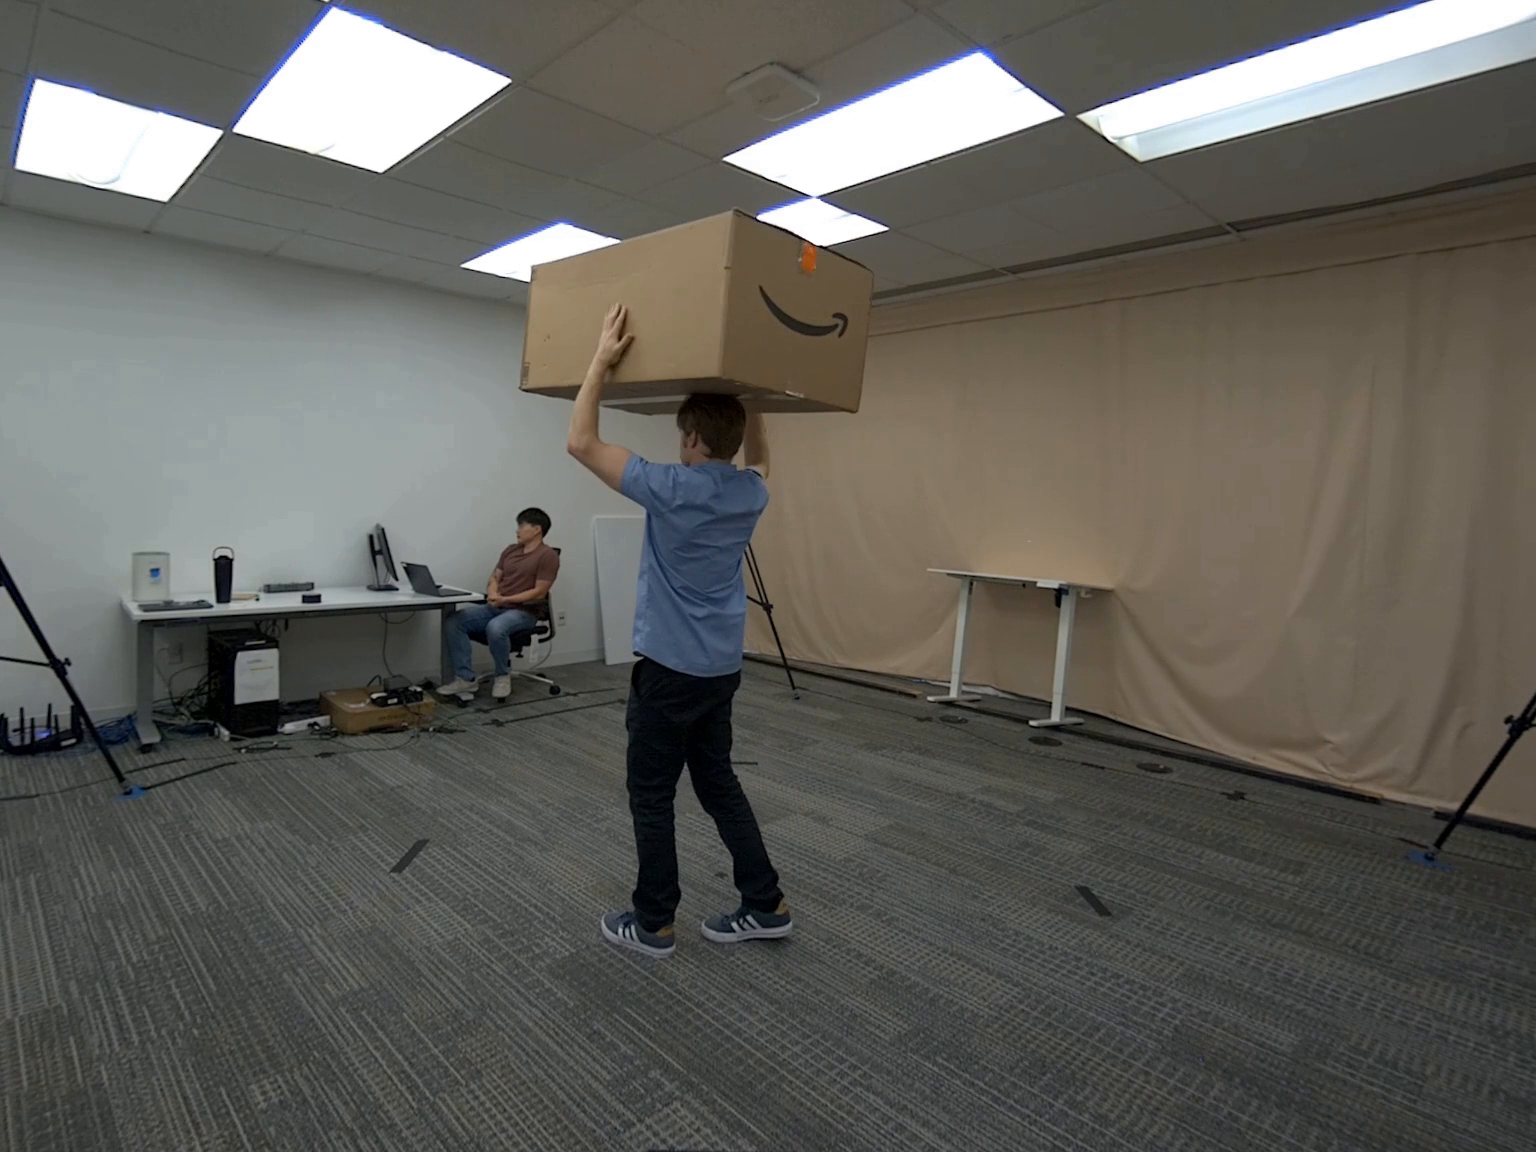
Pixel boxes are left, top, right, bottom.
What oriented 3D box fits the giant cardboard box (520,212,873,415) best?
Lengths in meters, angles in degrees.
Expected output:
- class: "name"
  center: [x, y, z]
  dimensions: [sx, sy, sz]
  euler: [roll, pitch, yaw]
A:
- class: "giant cardboard box"
  center: [-0.267, -0.767, 2.666]
  dimensions: [0.563, 0.425, 1.054]
  euler: [3, 5, -45]
